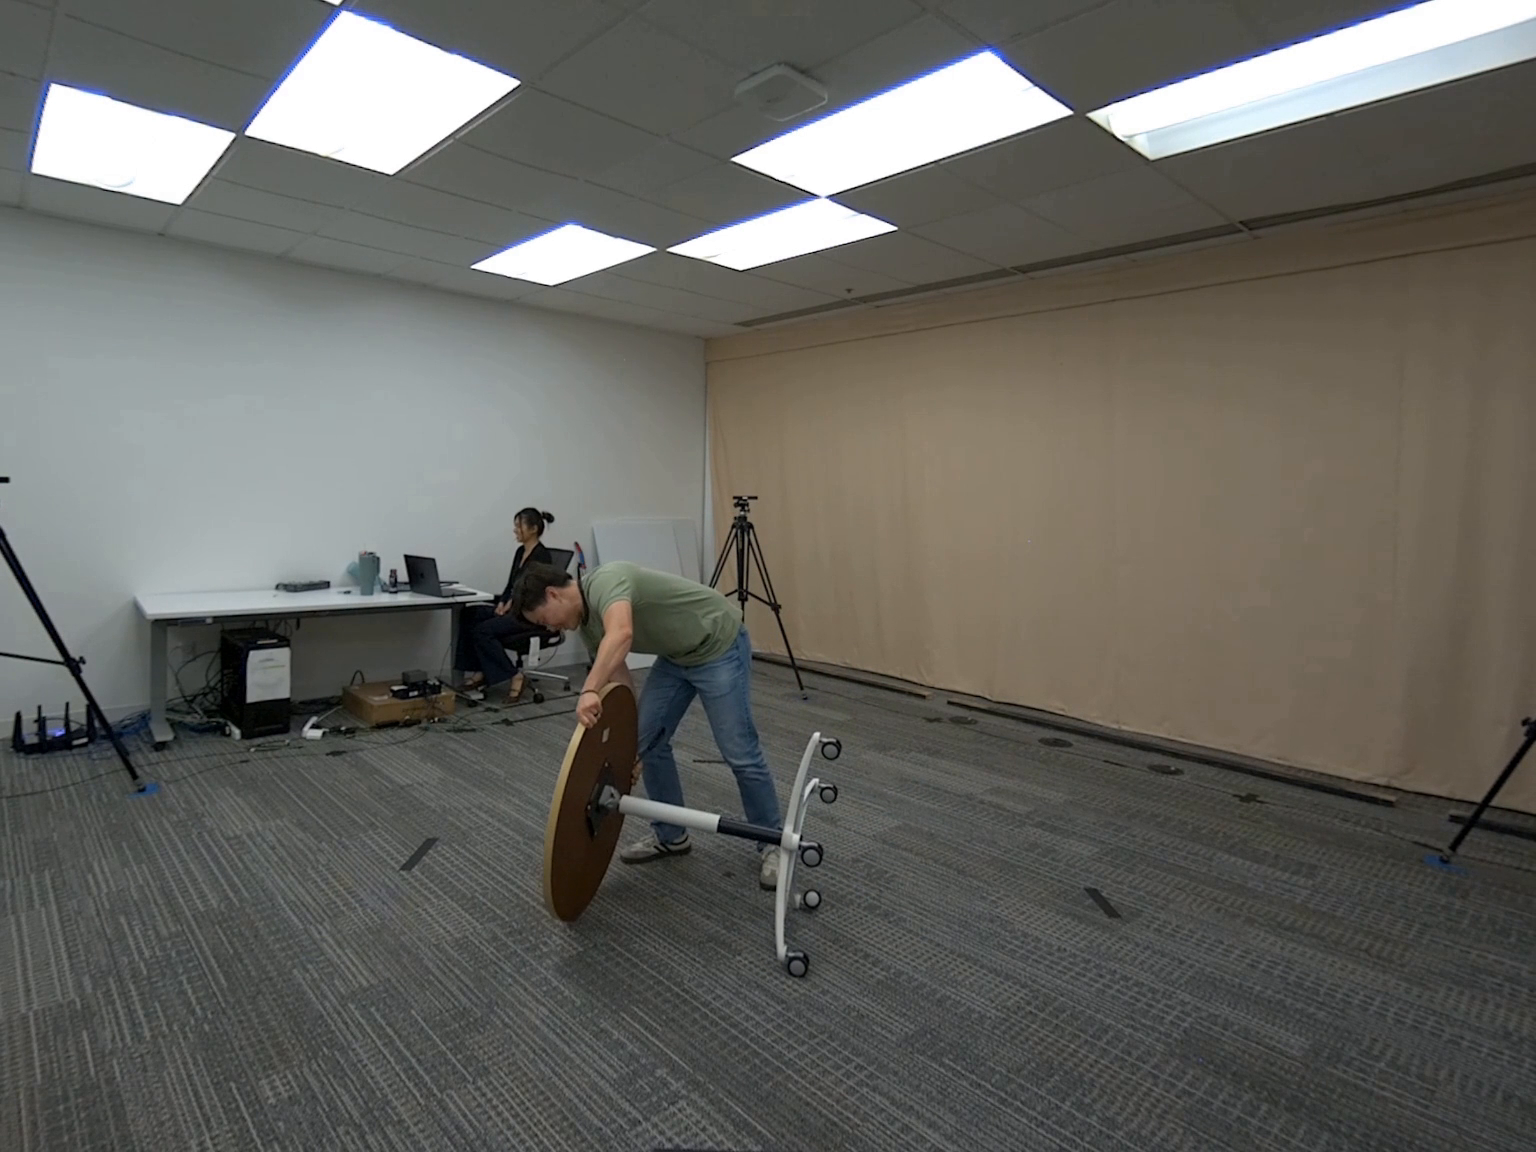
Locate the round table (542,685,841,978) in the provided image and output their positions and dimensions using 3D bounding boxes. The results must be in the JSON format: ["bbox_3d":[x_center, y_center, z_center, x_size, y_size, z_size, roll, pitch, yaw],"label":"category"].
[{"bbox_3d":[-0.203,0.802,2.724,0.802,0.761,0.759,9,6,10],"label":"round table"}]
